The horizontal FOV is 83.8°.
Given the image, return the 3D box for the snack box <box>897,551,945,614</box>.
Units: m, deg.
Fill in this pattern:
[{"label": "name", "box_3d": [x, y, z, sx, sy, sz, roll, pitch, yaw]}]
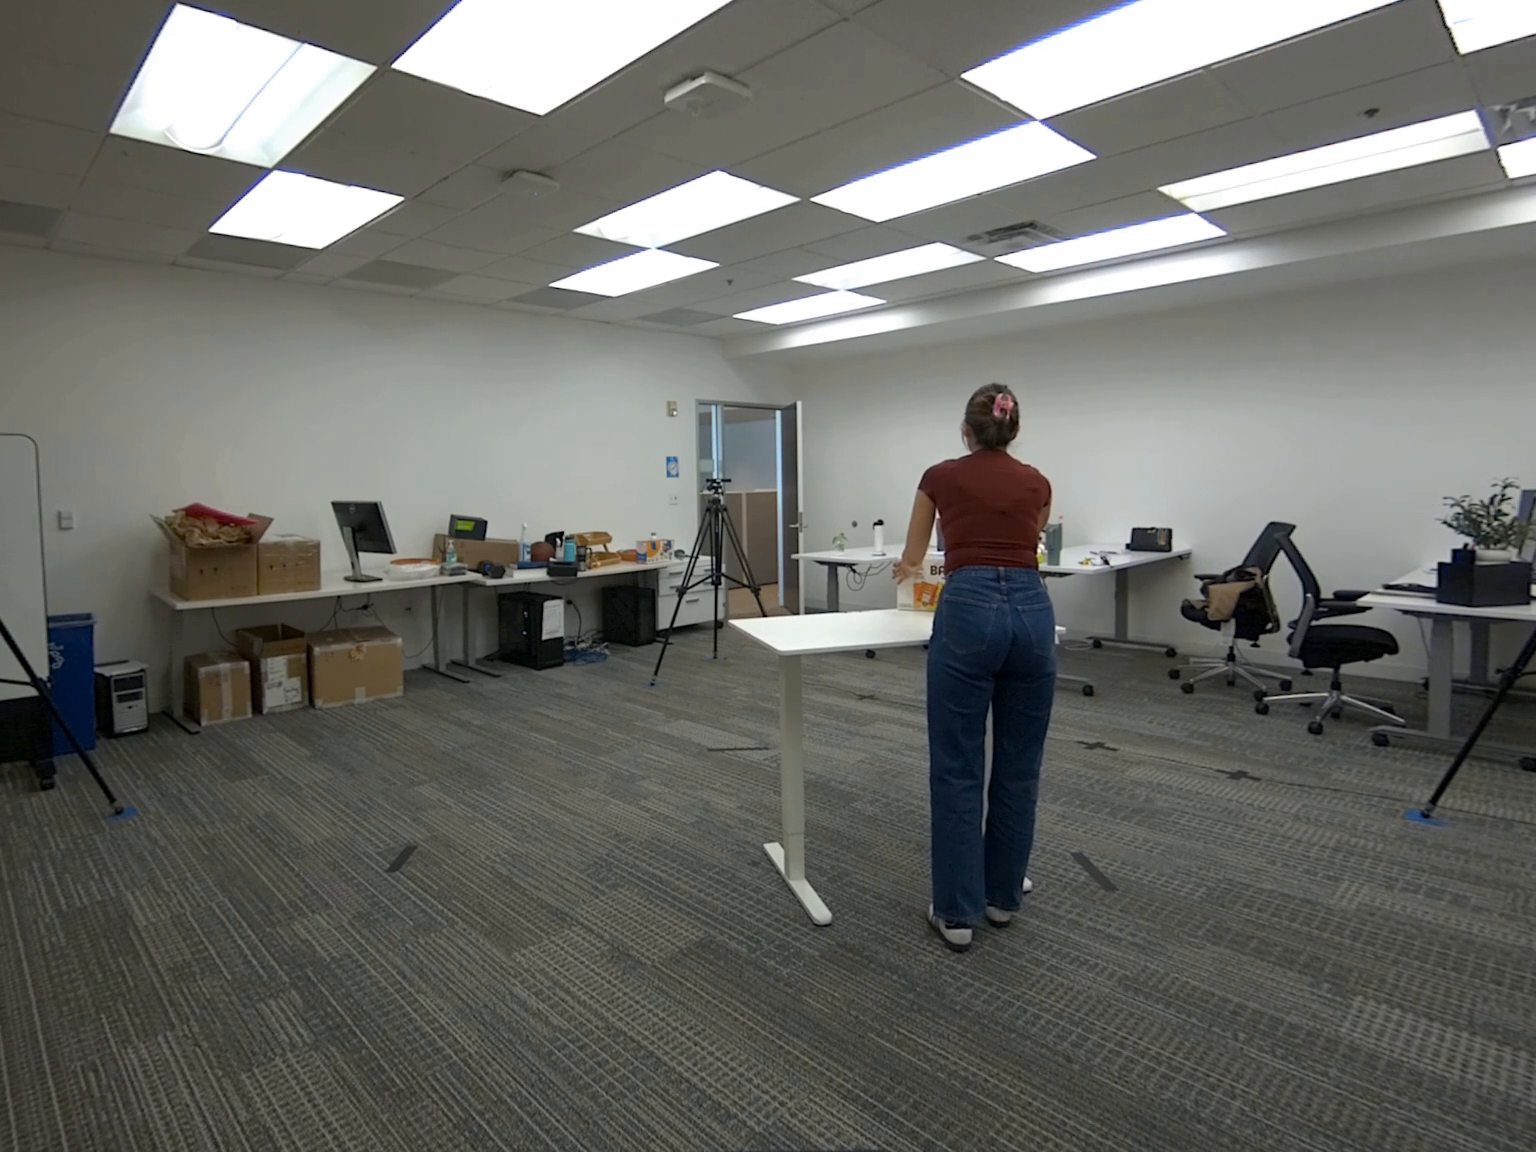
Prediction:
[{"label": "snack box", "box_3d": [0.750, 0.020, 3.335, 0.415, 0.205, 0.334, 1, 6, 26]}]
